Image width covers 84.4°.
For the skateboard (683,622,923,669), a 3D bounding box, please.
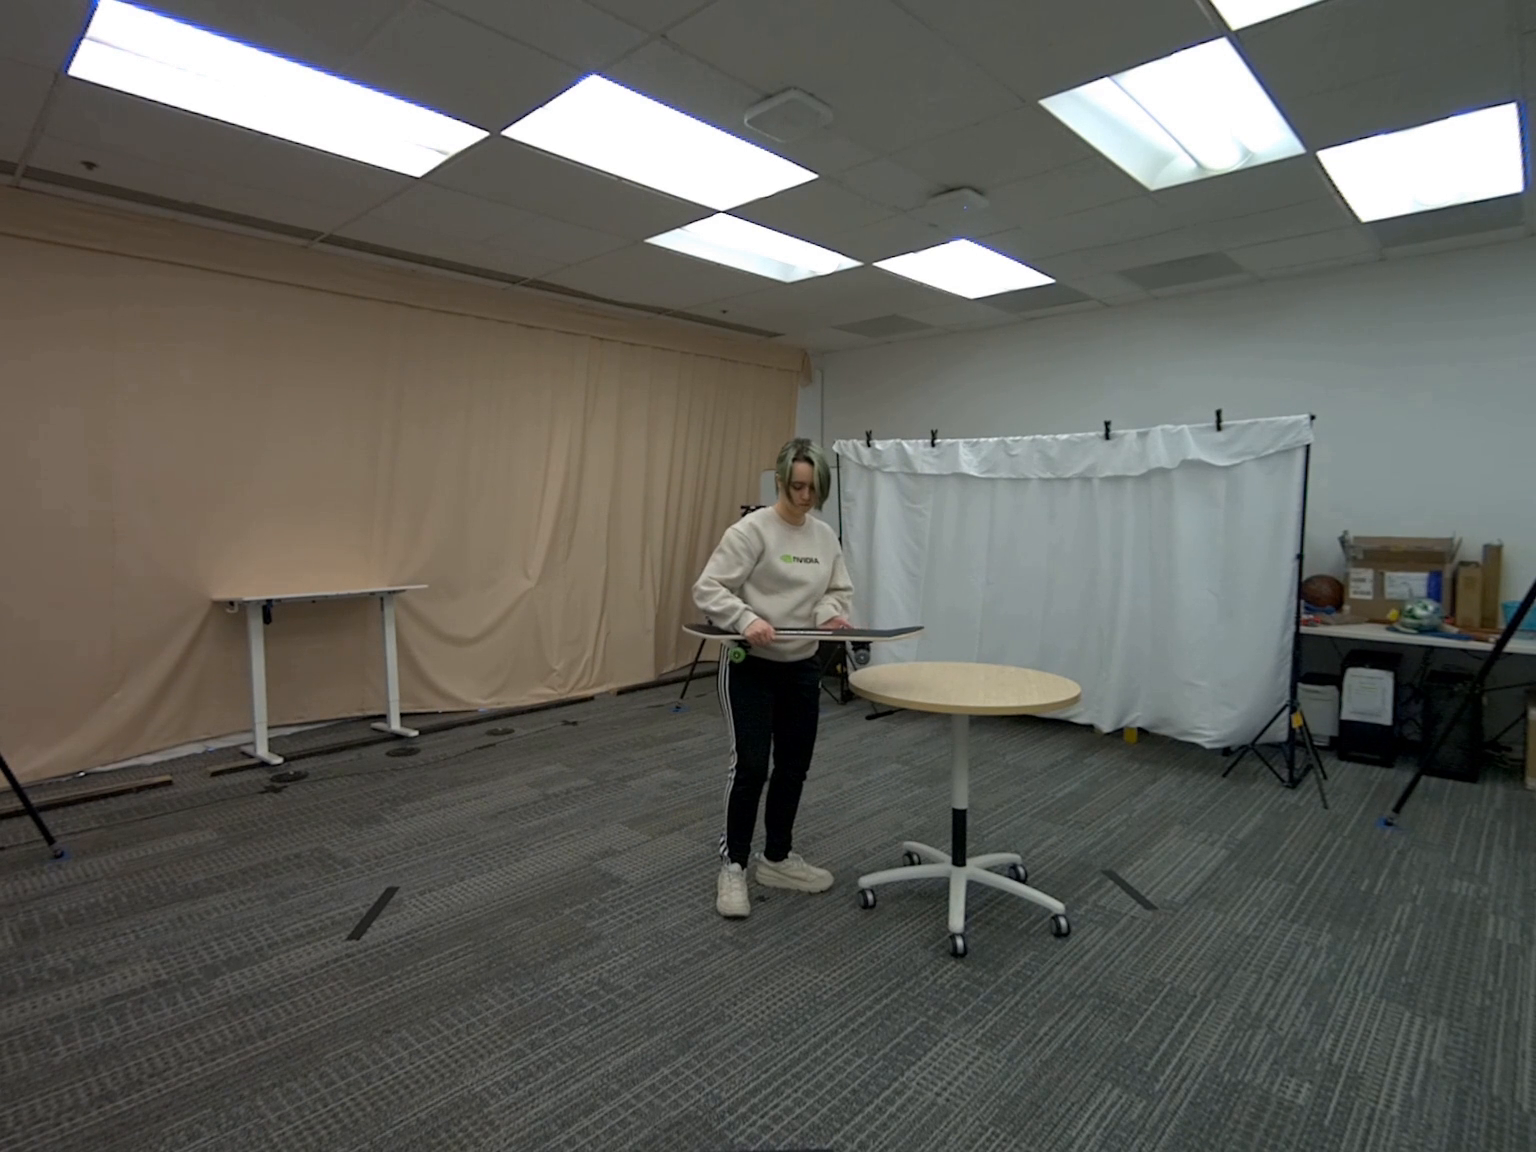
[{"bbox_3d":[0.114,0.223,2.754,0.793,0.110,0.192,0,3,8],"label":"skateboard"}]
